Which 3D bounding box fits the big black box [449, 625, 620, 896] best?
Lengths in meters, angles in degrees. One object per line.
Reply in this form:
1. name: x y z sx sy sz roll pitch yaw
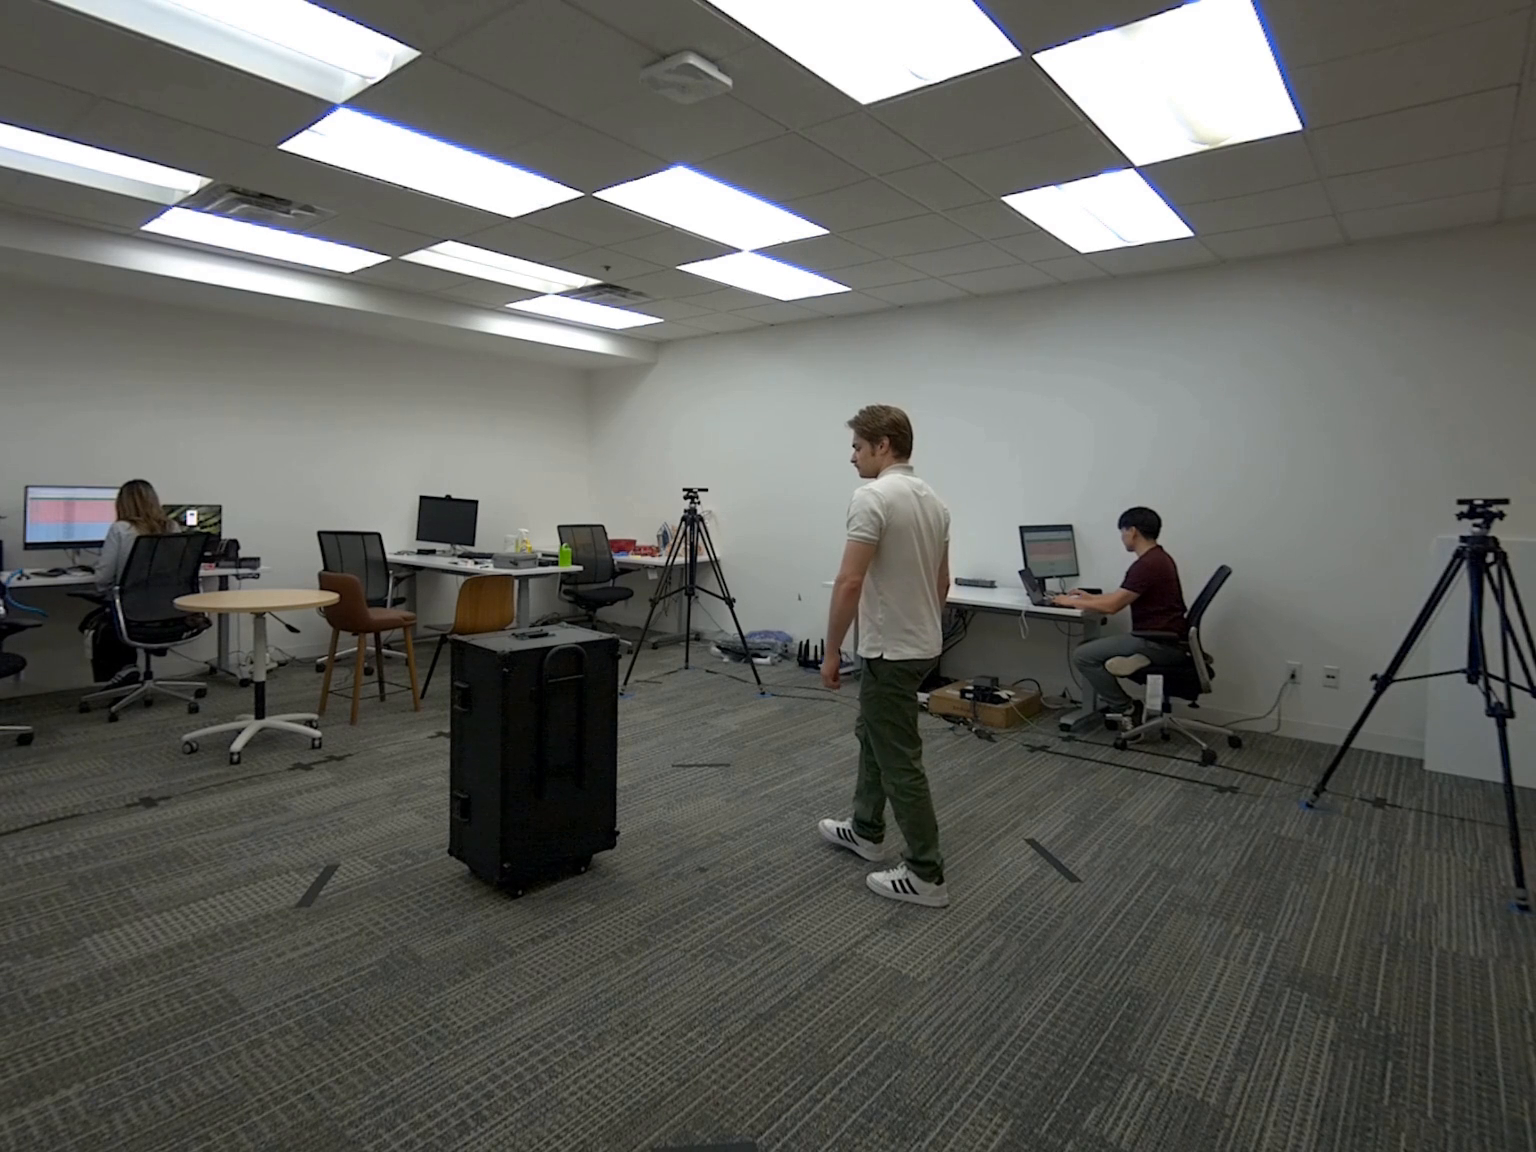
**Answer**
1. big black box: -0.844 0.640 3.055 0.410 0.858 0.505 6 6 44
